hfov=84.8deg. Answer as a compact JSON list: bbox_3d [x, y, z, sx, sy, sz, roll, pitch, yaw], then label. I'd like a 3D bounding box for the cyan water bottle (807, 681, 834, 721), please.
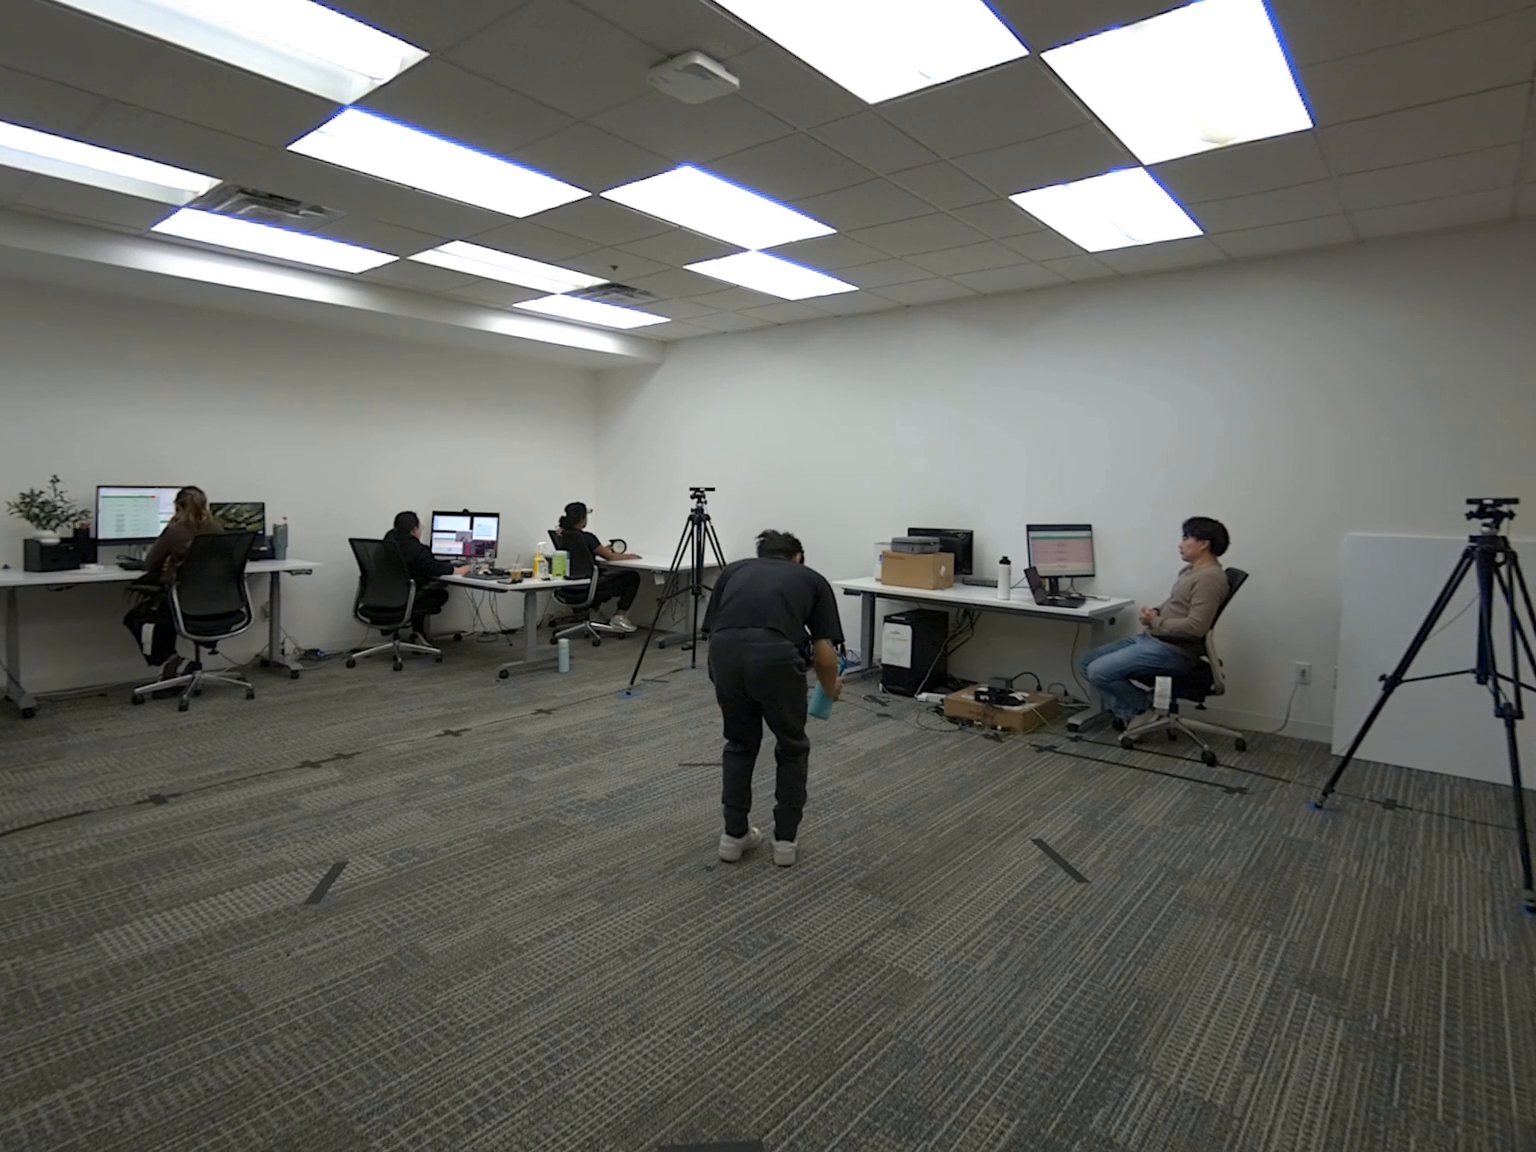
[{"bbox_3d":[0.234,0.450,3.493,0.093,0.286,0.091,17,-17,3],"label":"cyan water bottle"}]
